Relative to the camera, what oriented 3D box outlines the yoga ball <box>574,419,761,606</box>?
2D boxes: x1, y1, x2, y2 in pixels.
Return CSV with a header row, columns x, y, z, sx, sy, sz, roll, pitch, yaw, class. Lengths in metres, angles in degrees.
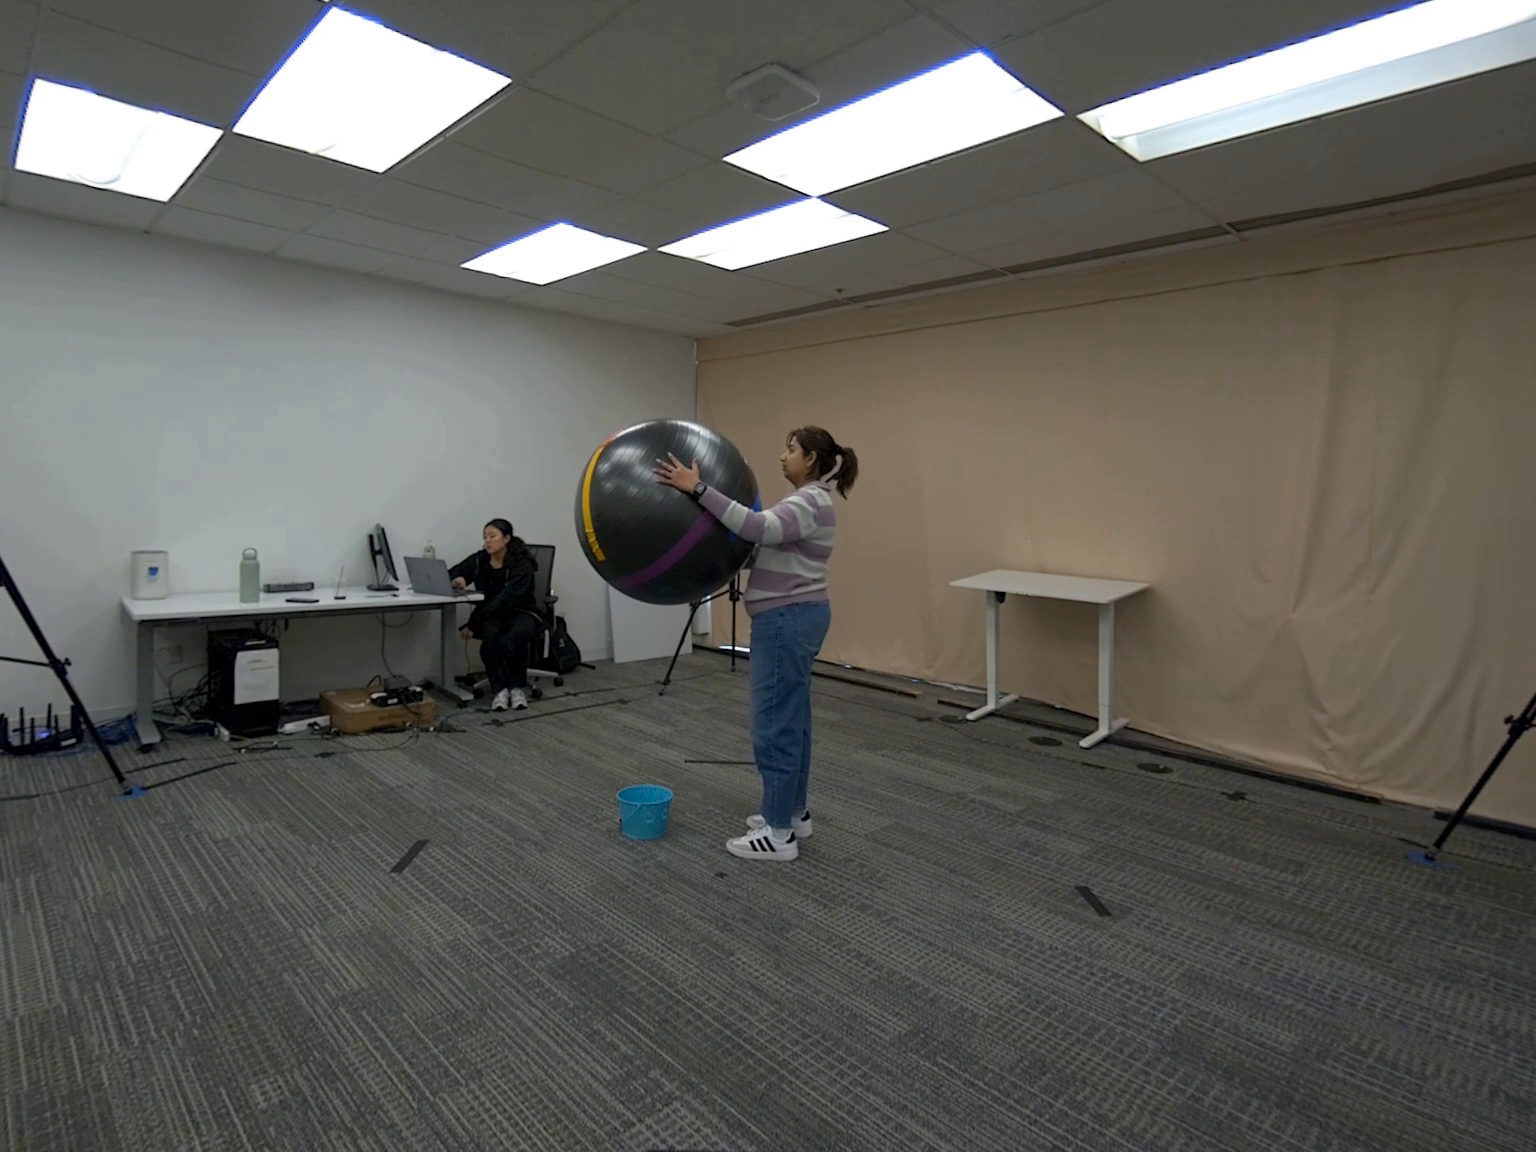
x,y,z,sx,sy,sz,roll,pitch,yaw,class
-0.426,-0.259,3.434,0.757,0.756,0.761,1,4,-1,yoga ball
